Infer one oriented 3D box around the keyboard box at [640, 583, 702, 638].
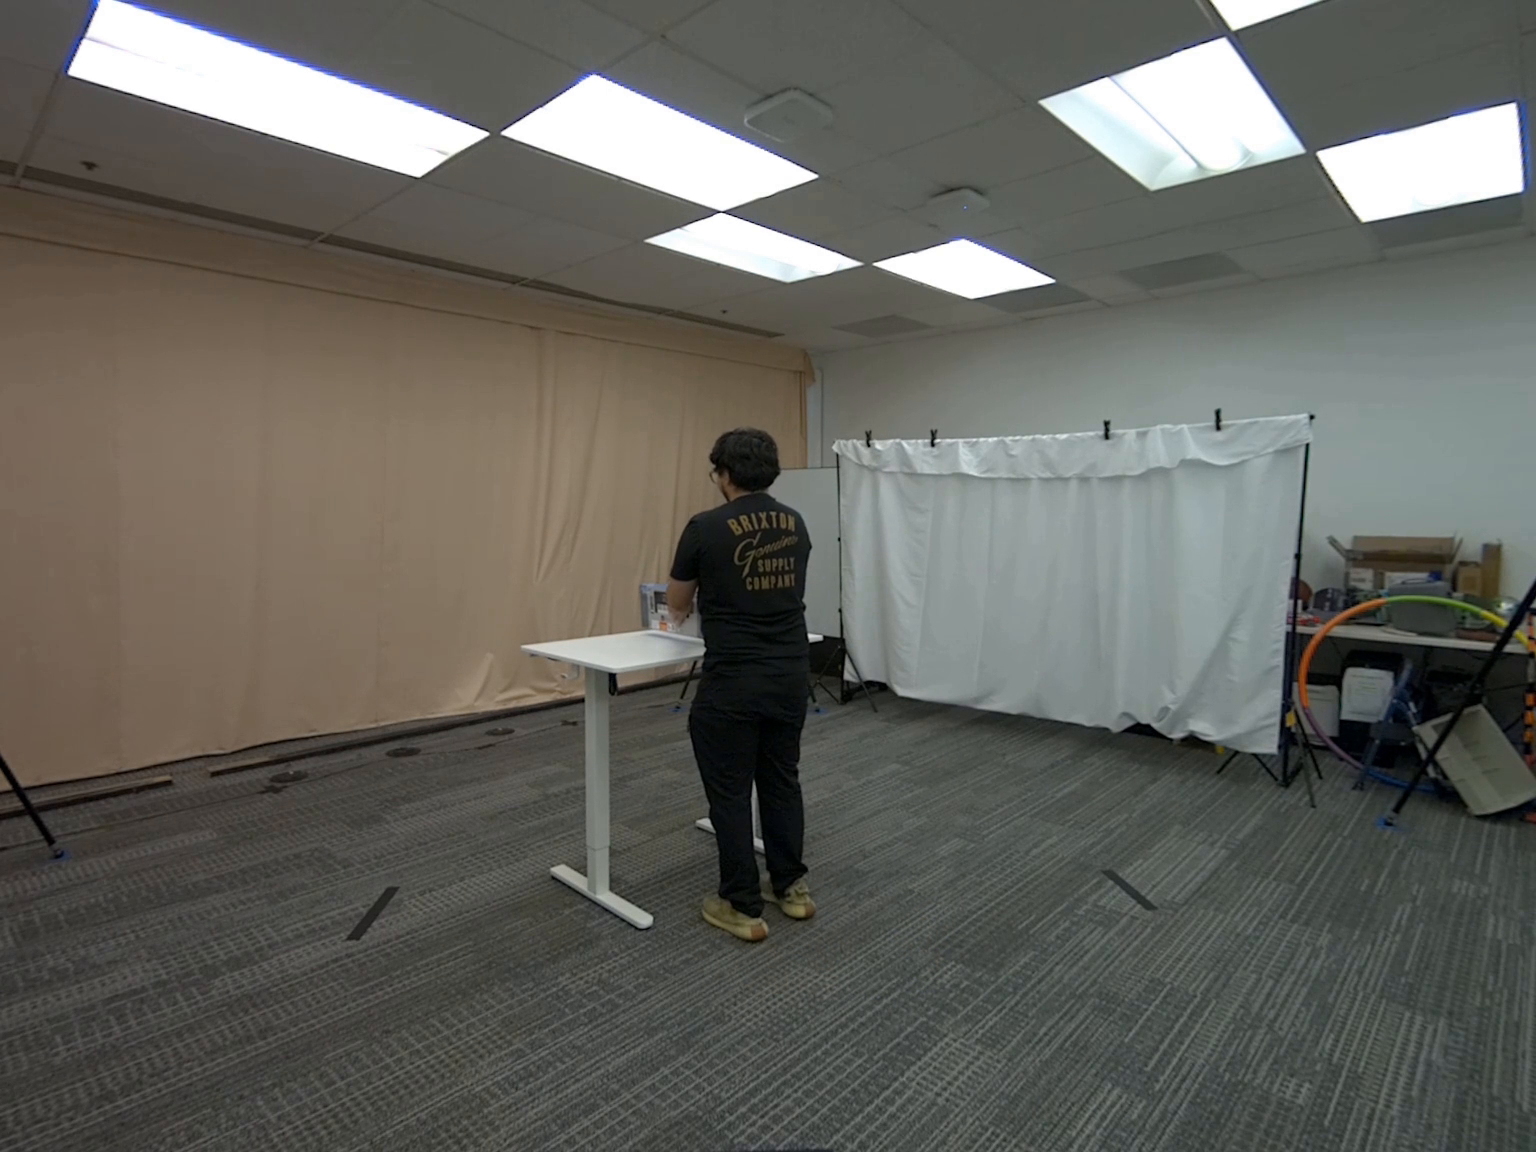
[{"bbox_3d":[-0.344,0.133,3.197,0.057,0.175,0.451,-7,8,-39],"label":"keyboard box"}]
